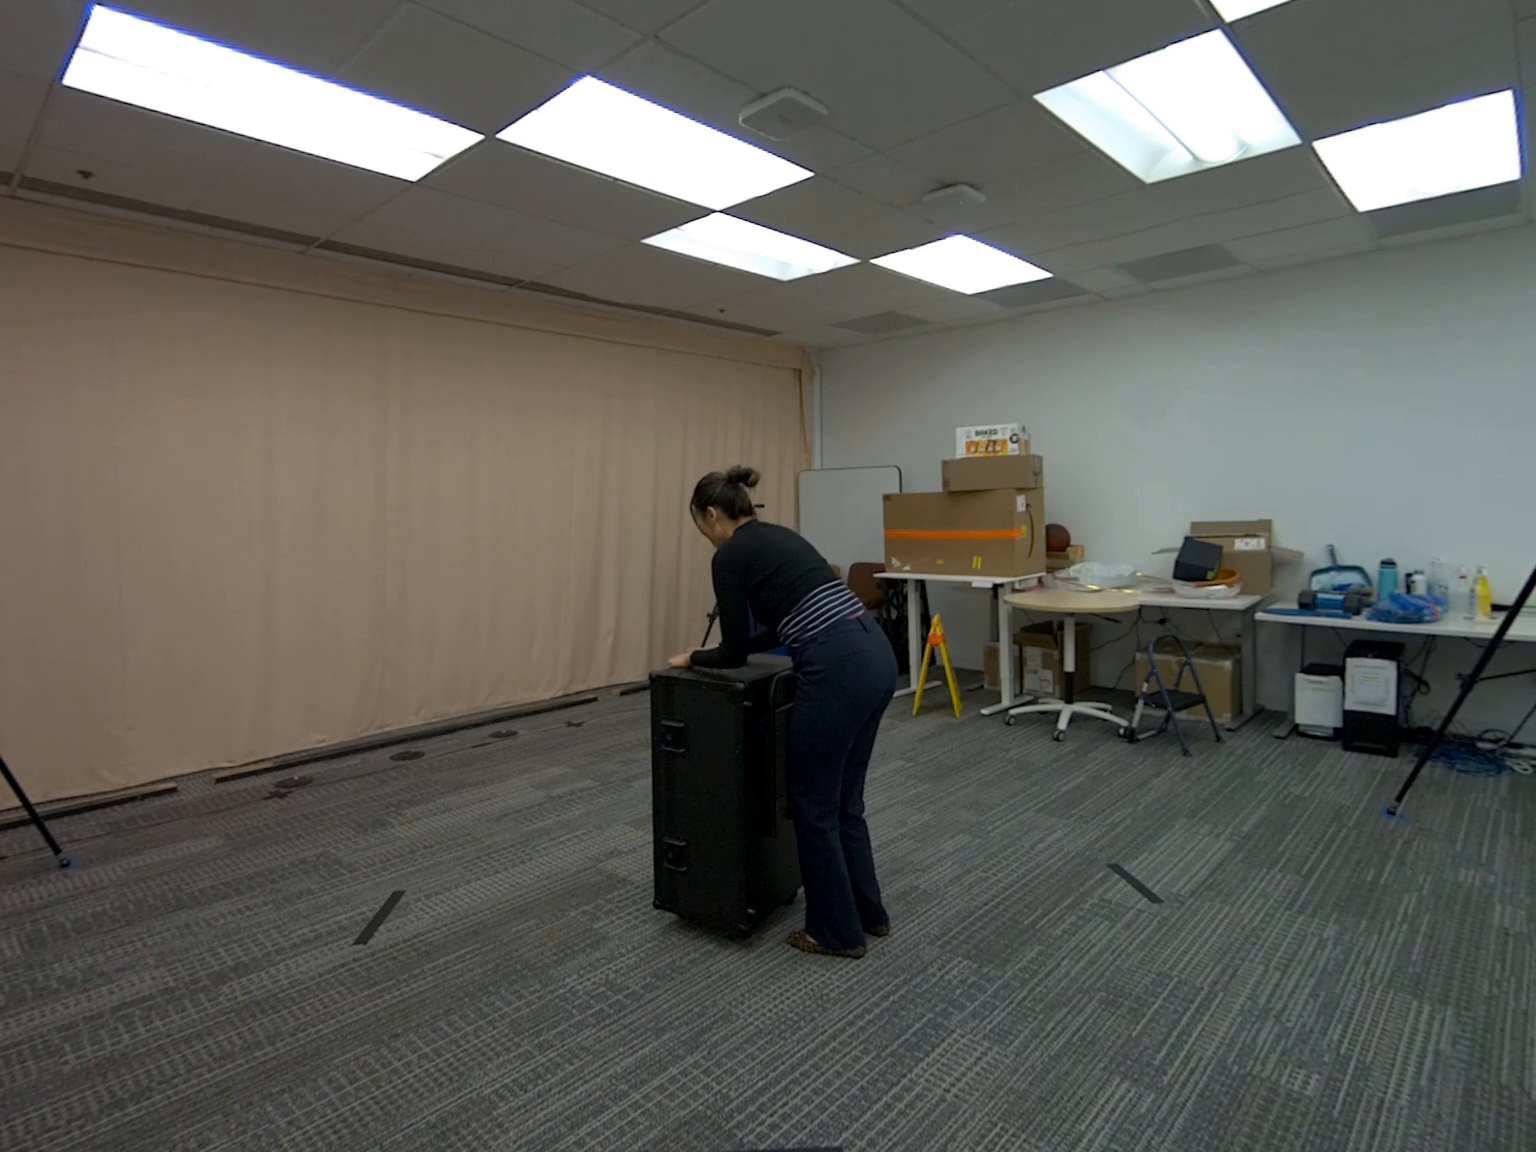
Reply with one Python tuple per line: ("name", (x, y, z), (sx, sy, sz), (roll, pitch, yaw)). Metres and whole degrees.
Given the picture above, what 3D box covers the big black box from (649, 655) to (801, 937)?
("big black box", (-0.098, 0.726, 2.859), (0.408, 0.859, 0.507), (3, 4, 31))
